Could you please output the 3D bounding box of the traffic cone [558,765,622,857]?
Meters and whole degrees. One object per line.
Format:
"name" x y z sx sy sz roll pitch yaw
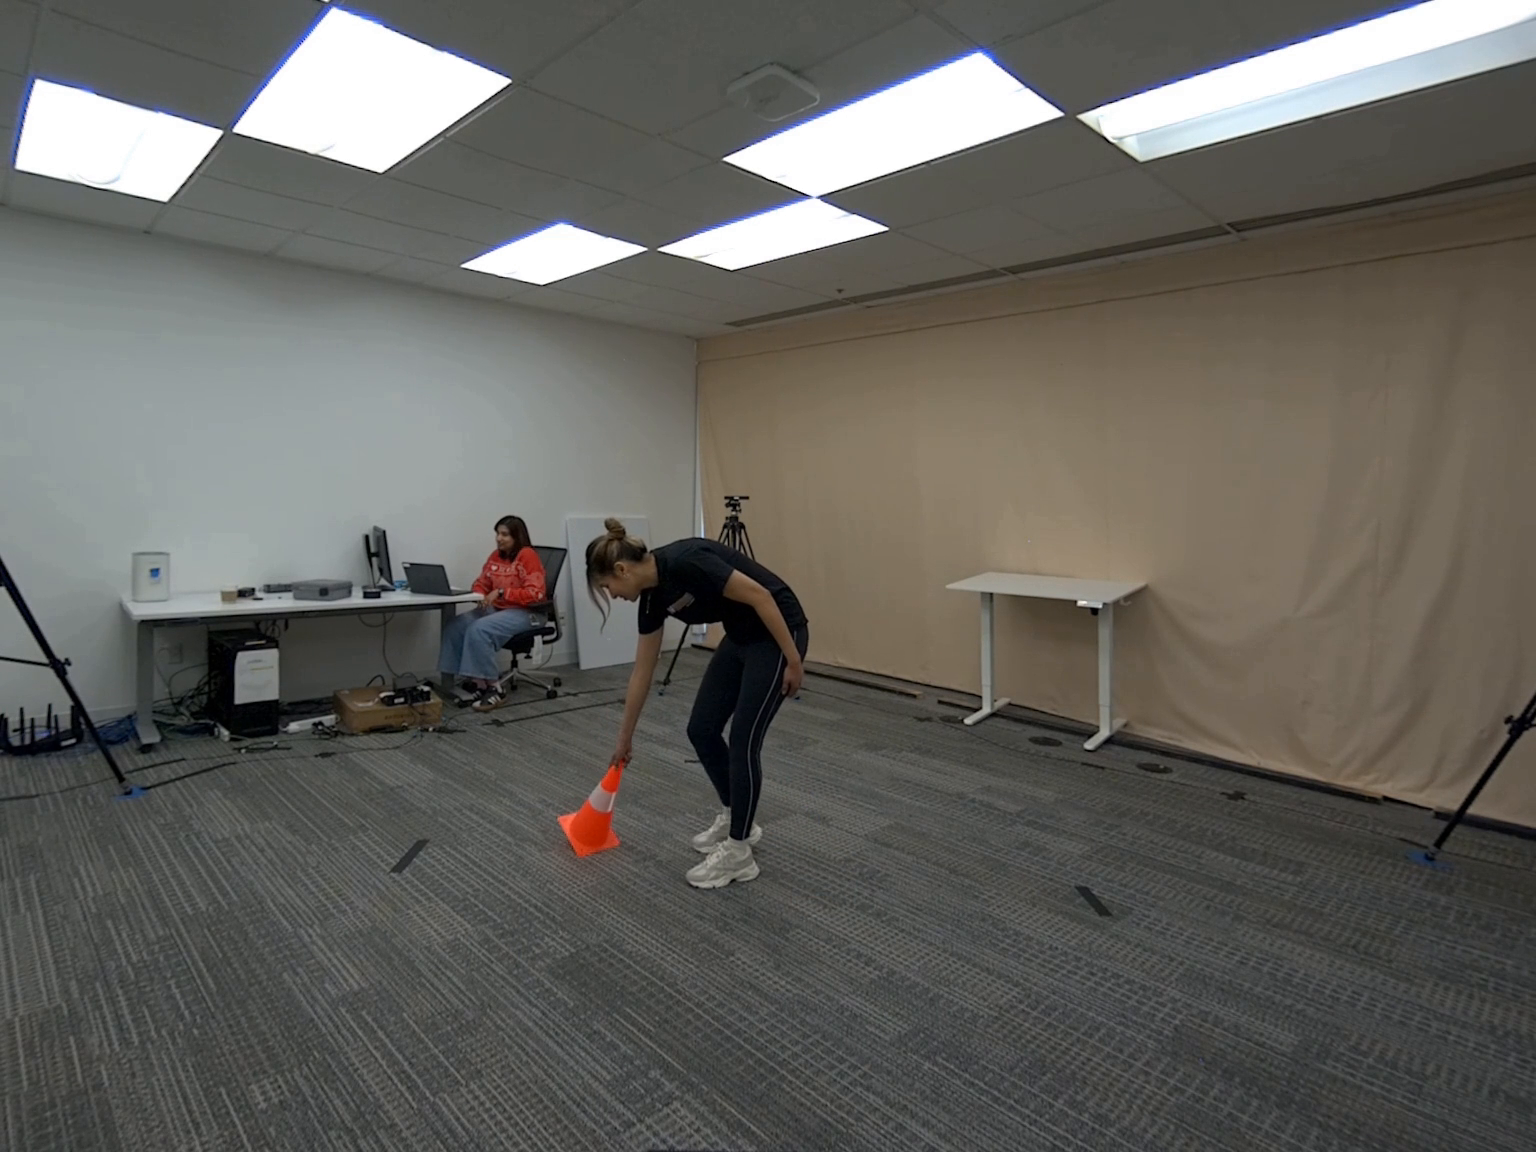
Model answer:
"traffic cone" -0.648 0.870 3.270 0.199 0.381 0.211 -4 39 -47
